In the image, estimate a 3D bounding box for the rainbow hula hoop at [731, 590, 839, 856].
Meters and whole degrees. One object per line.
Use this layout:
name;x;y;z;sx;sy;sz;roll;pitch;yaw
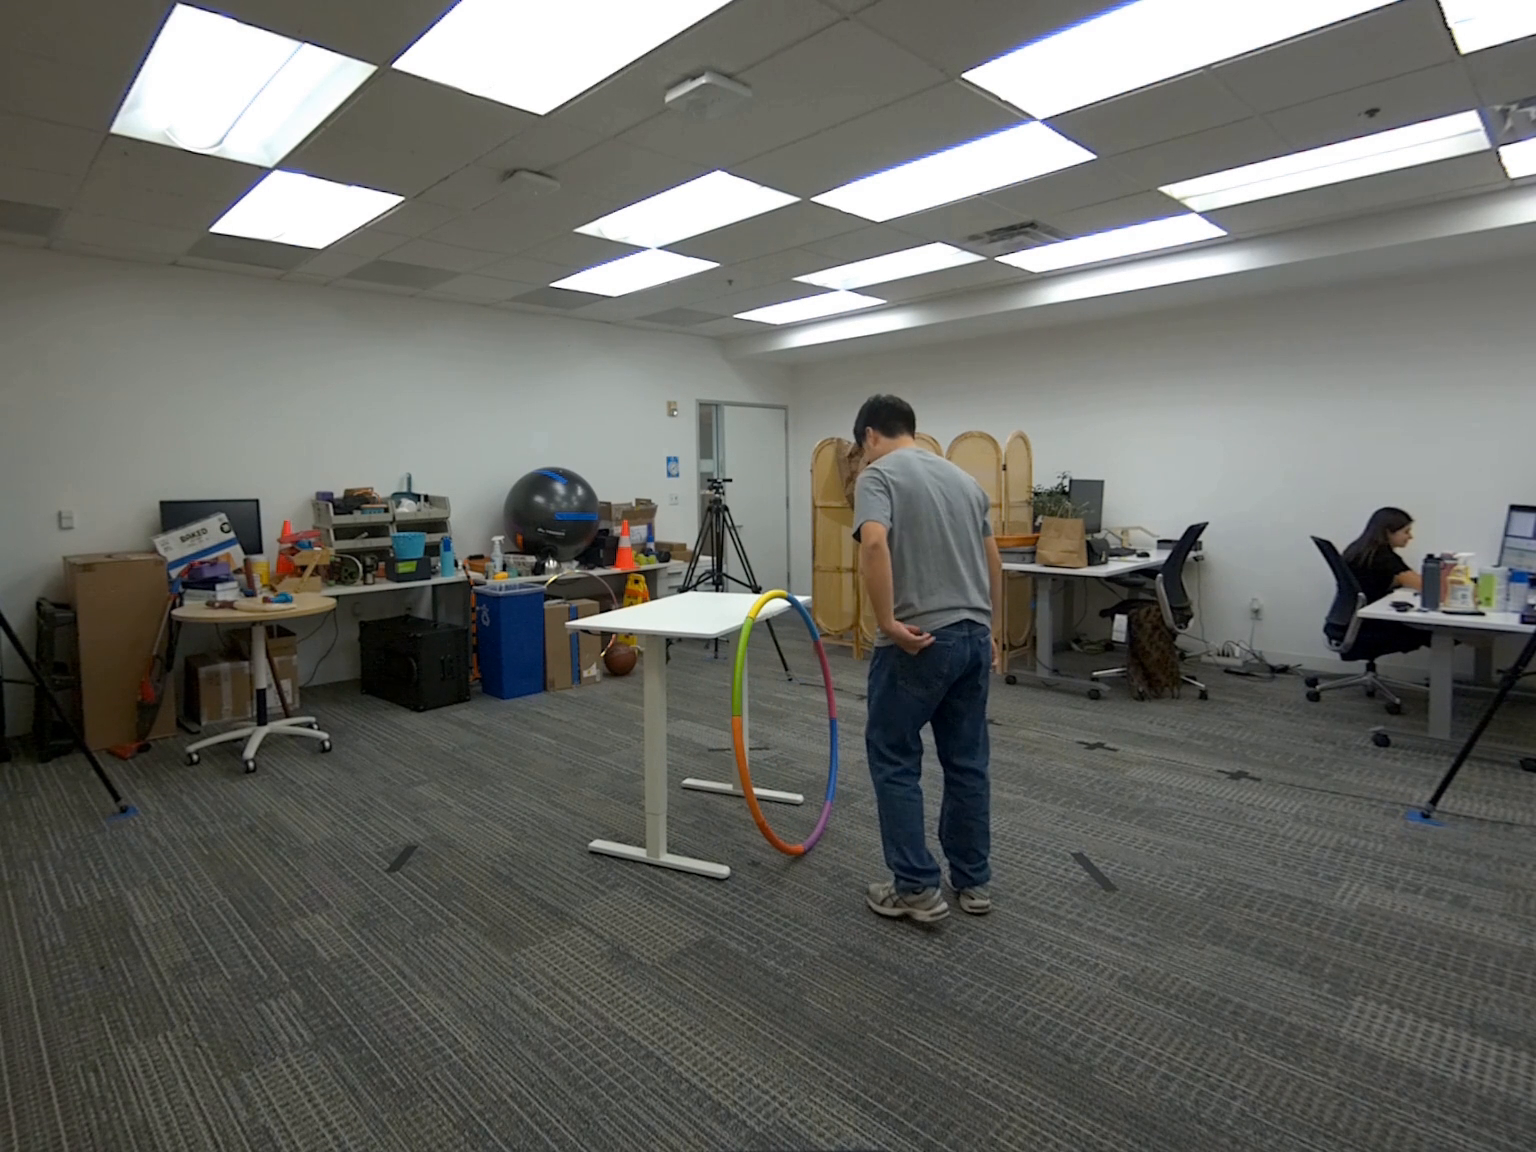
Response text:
rainbow hula hoop;0.091;0.547;3.267;0.036;0.979;0.962;-10;1;22
